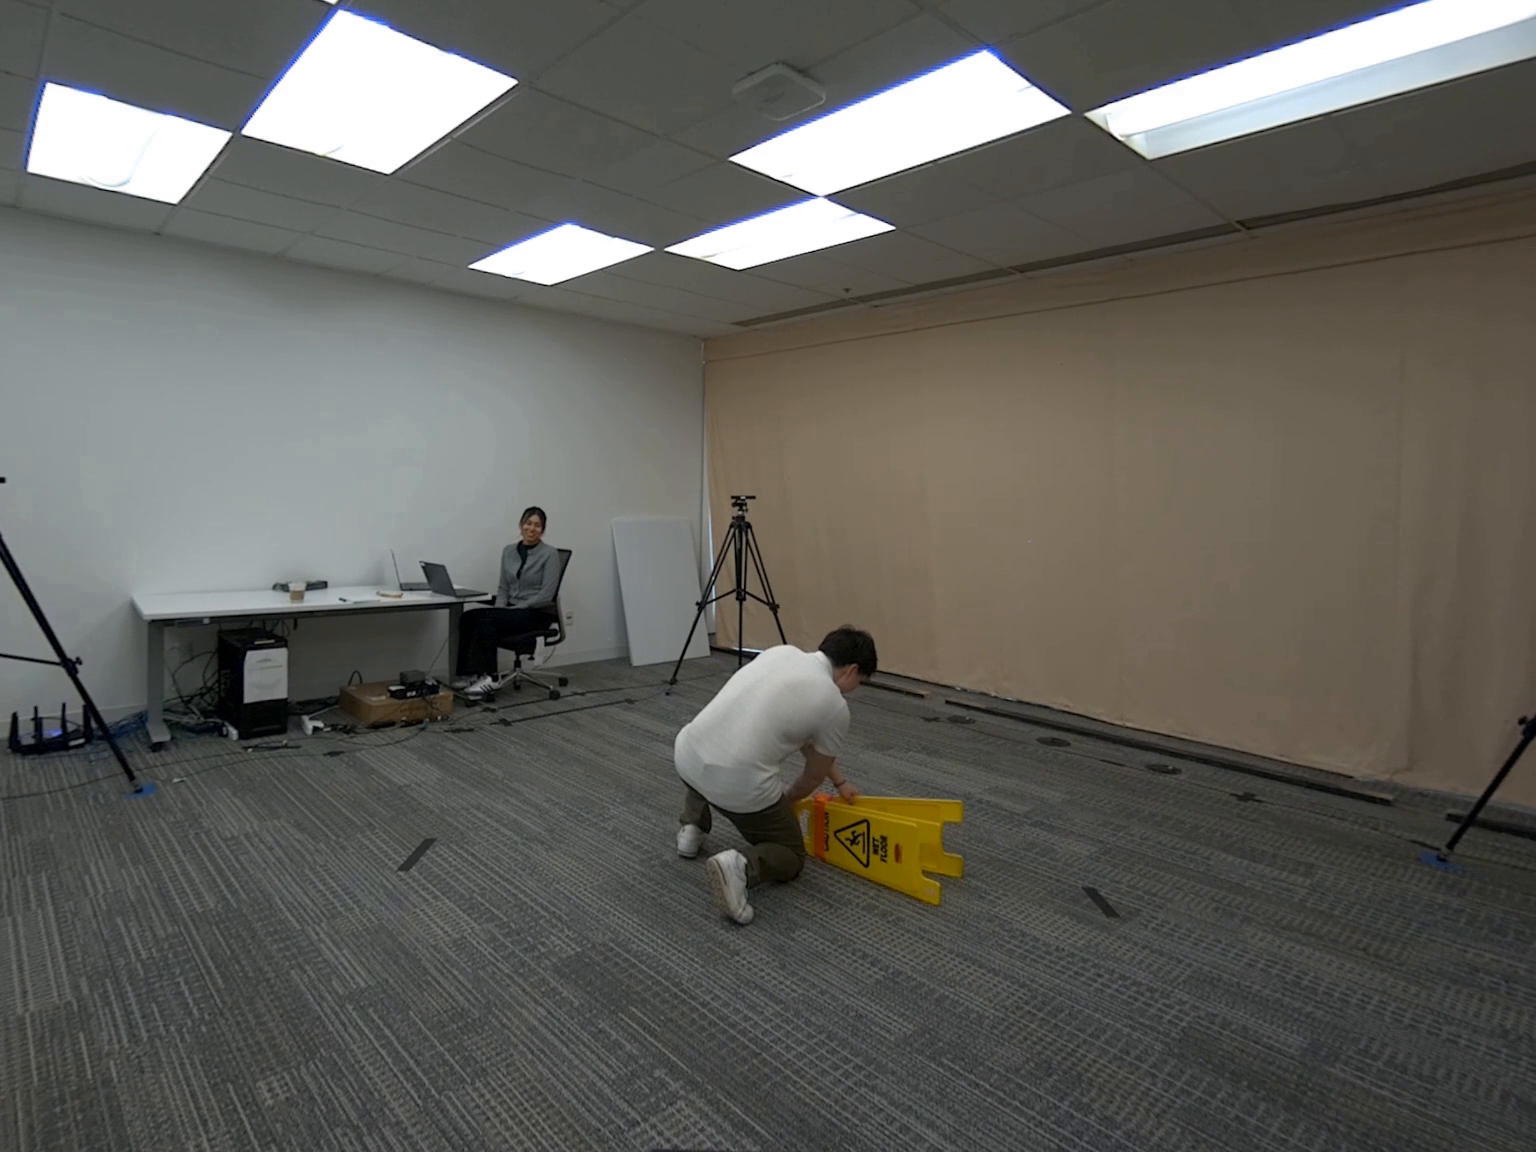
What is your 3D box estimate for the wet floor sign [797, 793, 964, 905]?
[{"bbox_3d":[0.369,0.979,3.183,0.659,0.282,0.284,1,1,29],"label":"wet floor sign"}]
